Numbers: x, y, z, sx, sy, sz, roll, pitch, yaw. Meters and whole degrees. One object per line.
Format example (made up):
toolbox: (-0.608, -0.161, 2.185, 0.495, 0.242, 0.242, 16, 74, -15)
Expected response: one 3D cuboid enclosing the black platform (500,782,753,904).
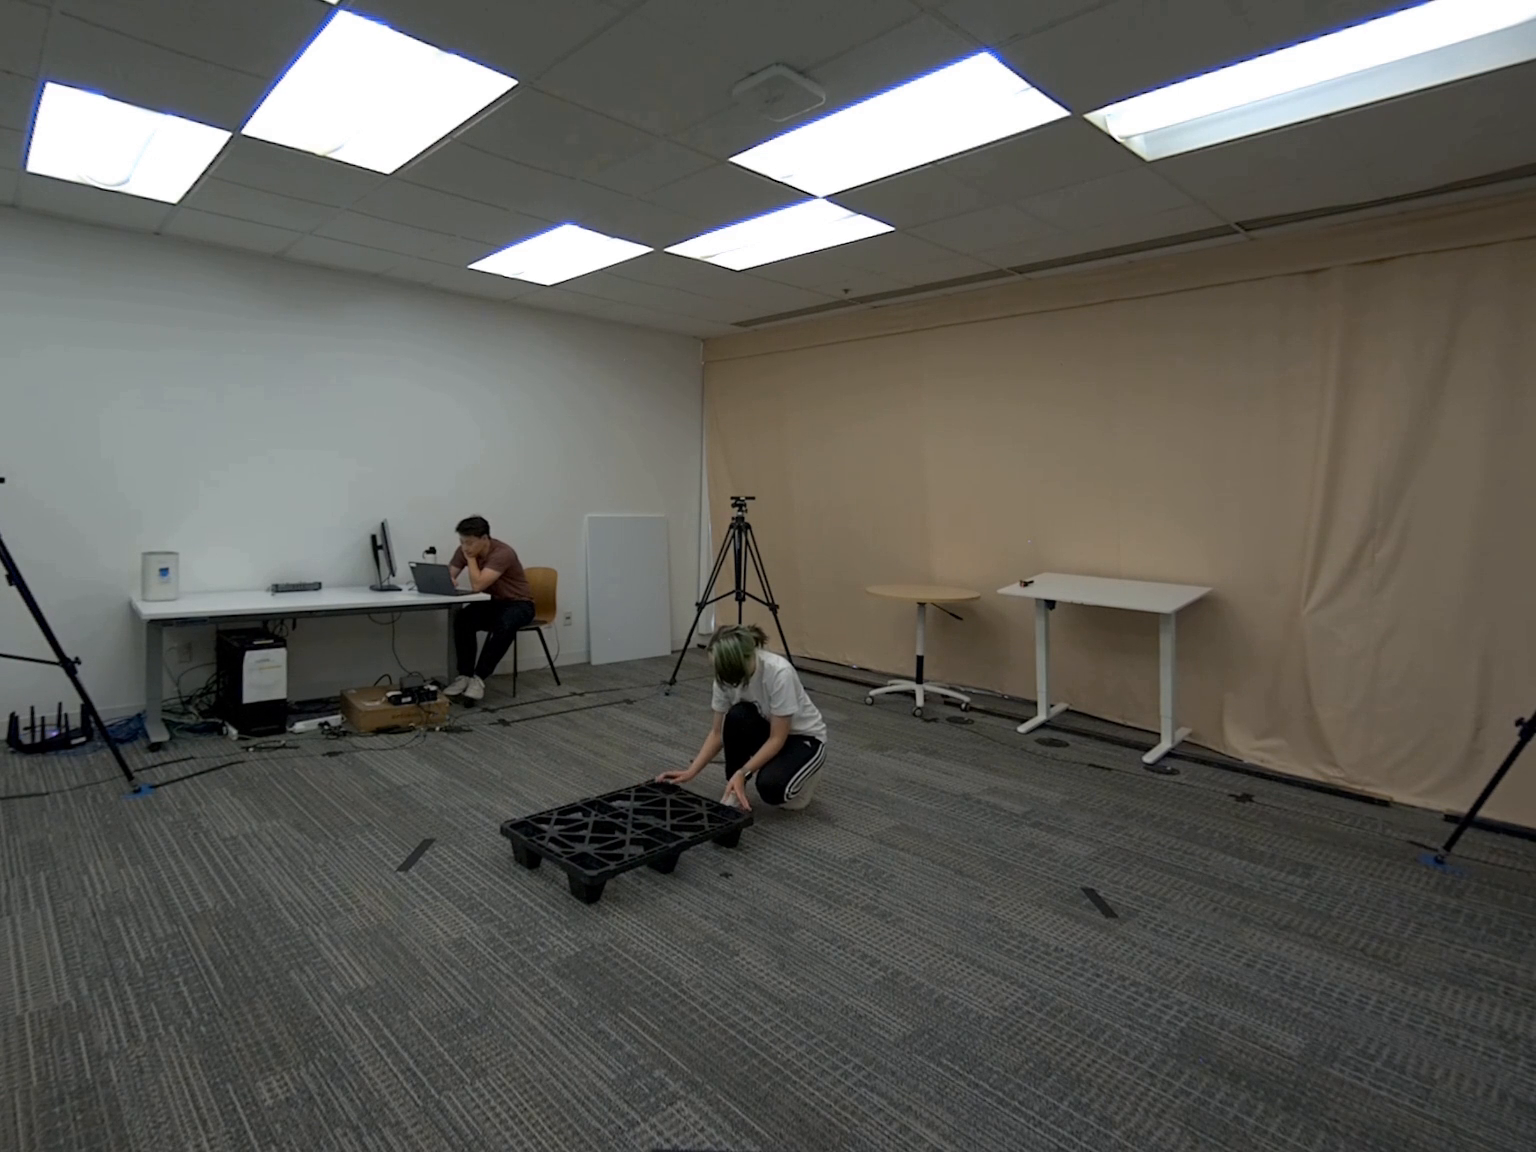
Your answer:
black platform: (-0.539, 1.014, 3.270, 0.621, 0.143, 0.787, 7, 8, 43)
